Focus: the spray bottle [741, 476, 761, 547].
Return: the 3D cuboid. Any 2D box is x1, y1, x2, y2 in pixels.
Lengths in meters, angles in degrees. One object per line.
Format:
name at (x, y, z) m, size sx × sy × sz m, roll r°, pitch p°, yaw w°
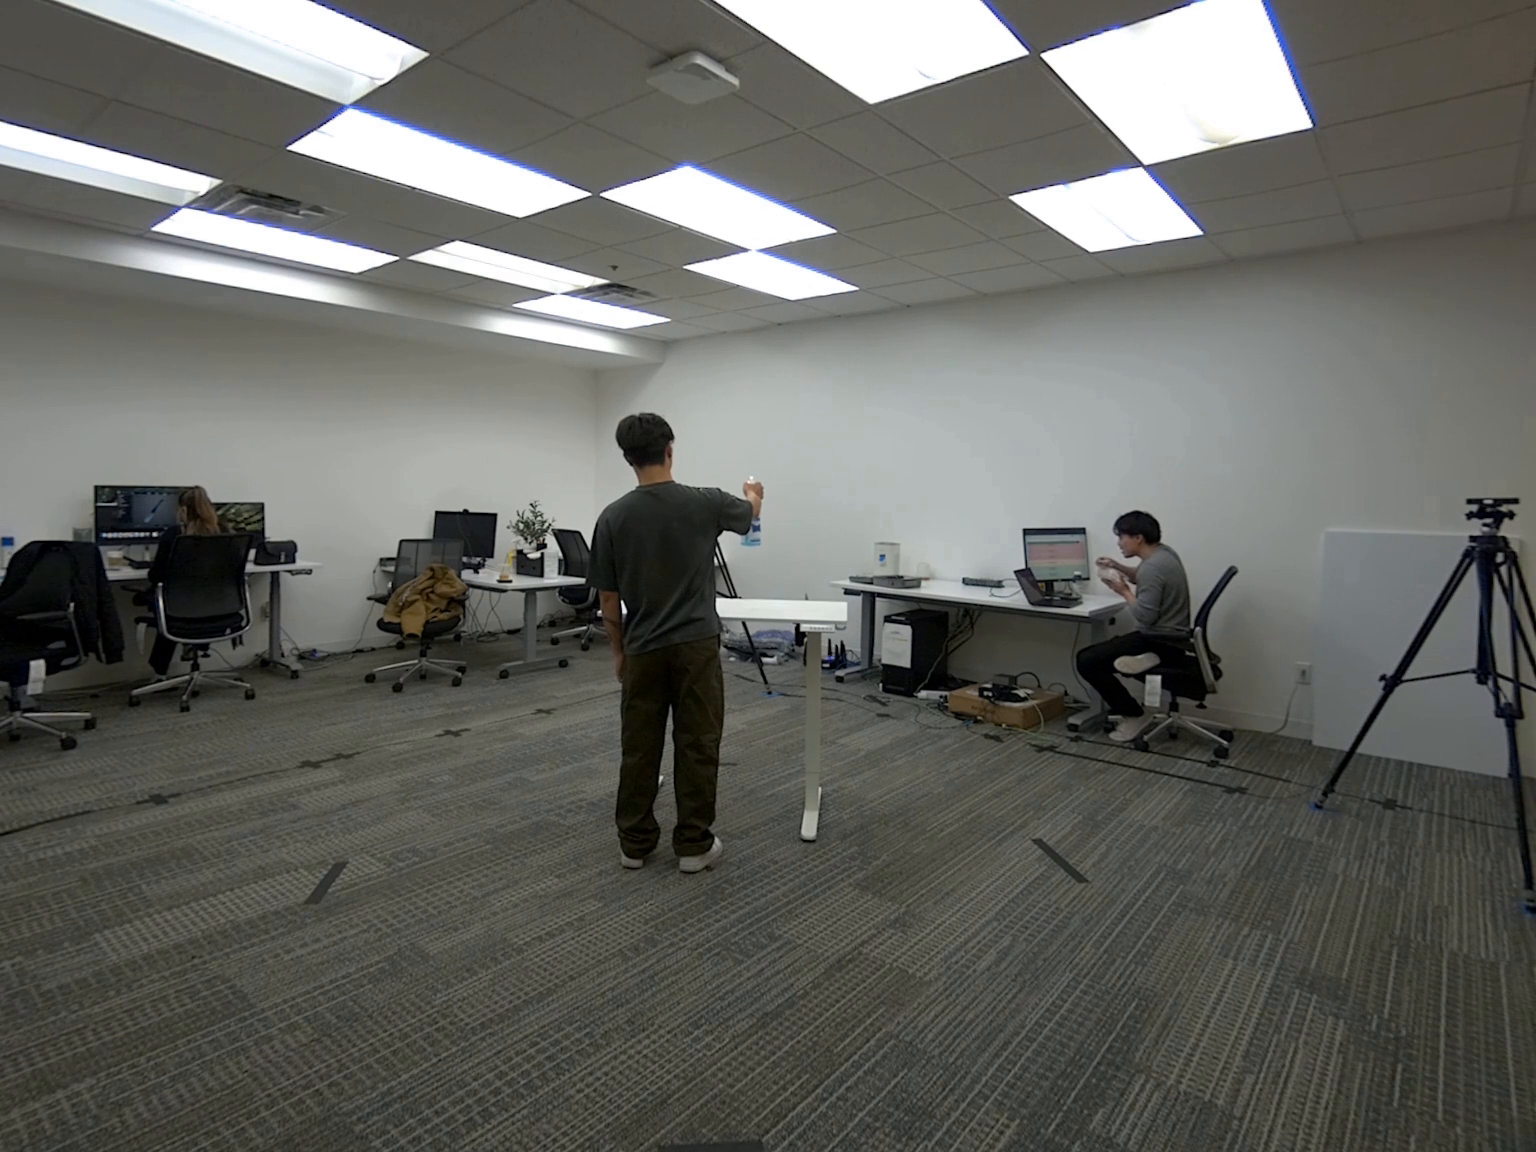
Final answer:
spray bottle at (-0.078, -0.282, 3.659) m, size 0.089 × 0.295 × 0.088 m, roll 3°, pitch 7°, yaw 24°
